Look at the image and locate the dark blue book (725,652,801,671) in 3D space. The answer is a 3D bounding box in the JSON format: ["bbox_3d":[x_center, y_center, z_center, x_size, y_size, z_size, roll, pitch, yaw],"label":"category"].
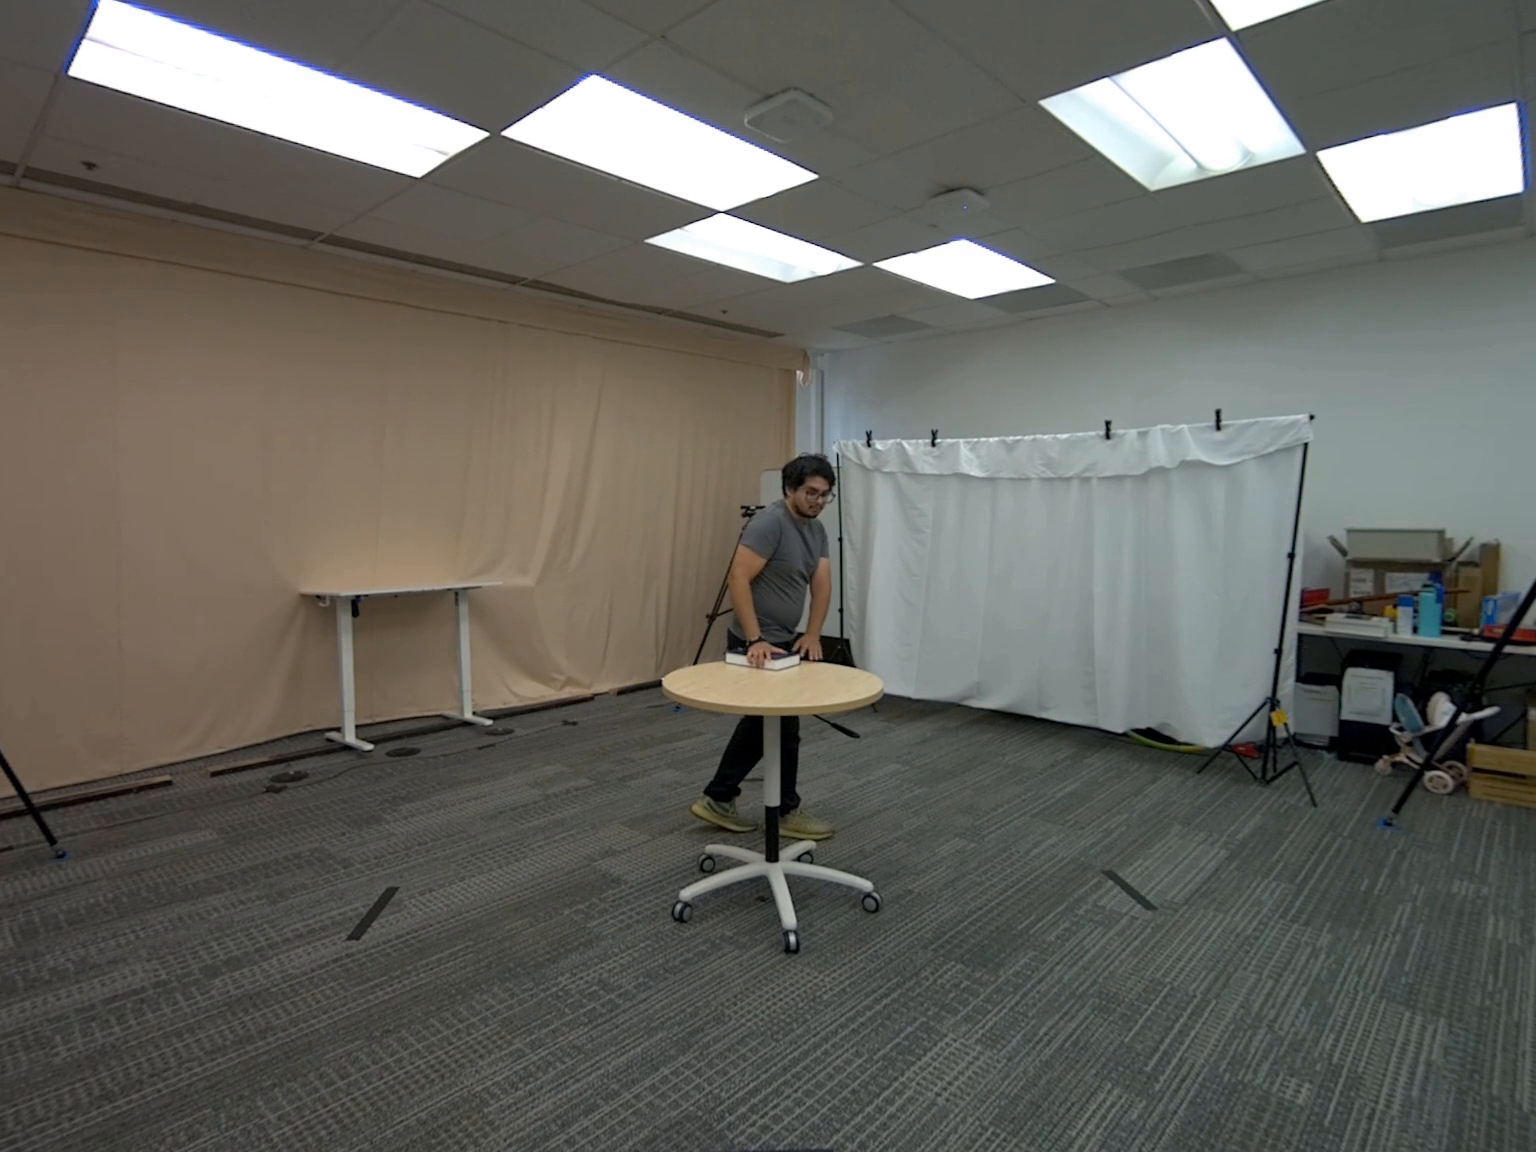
[{"bbox_3d":[-0.022,0.315,3.232,0.253,0.045,0.159,4,7,37],"label":"dark blue book"}]
